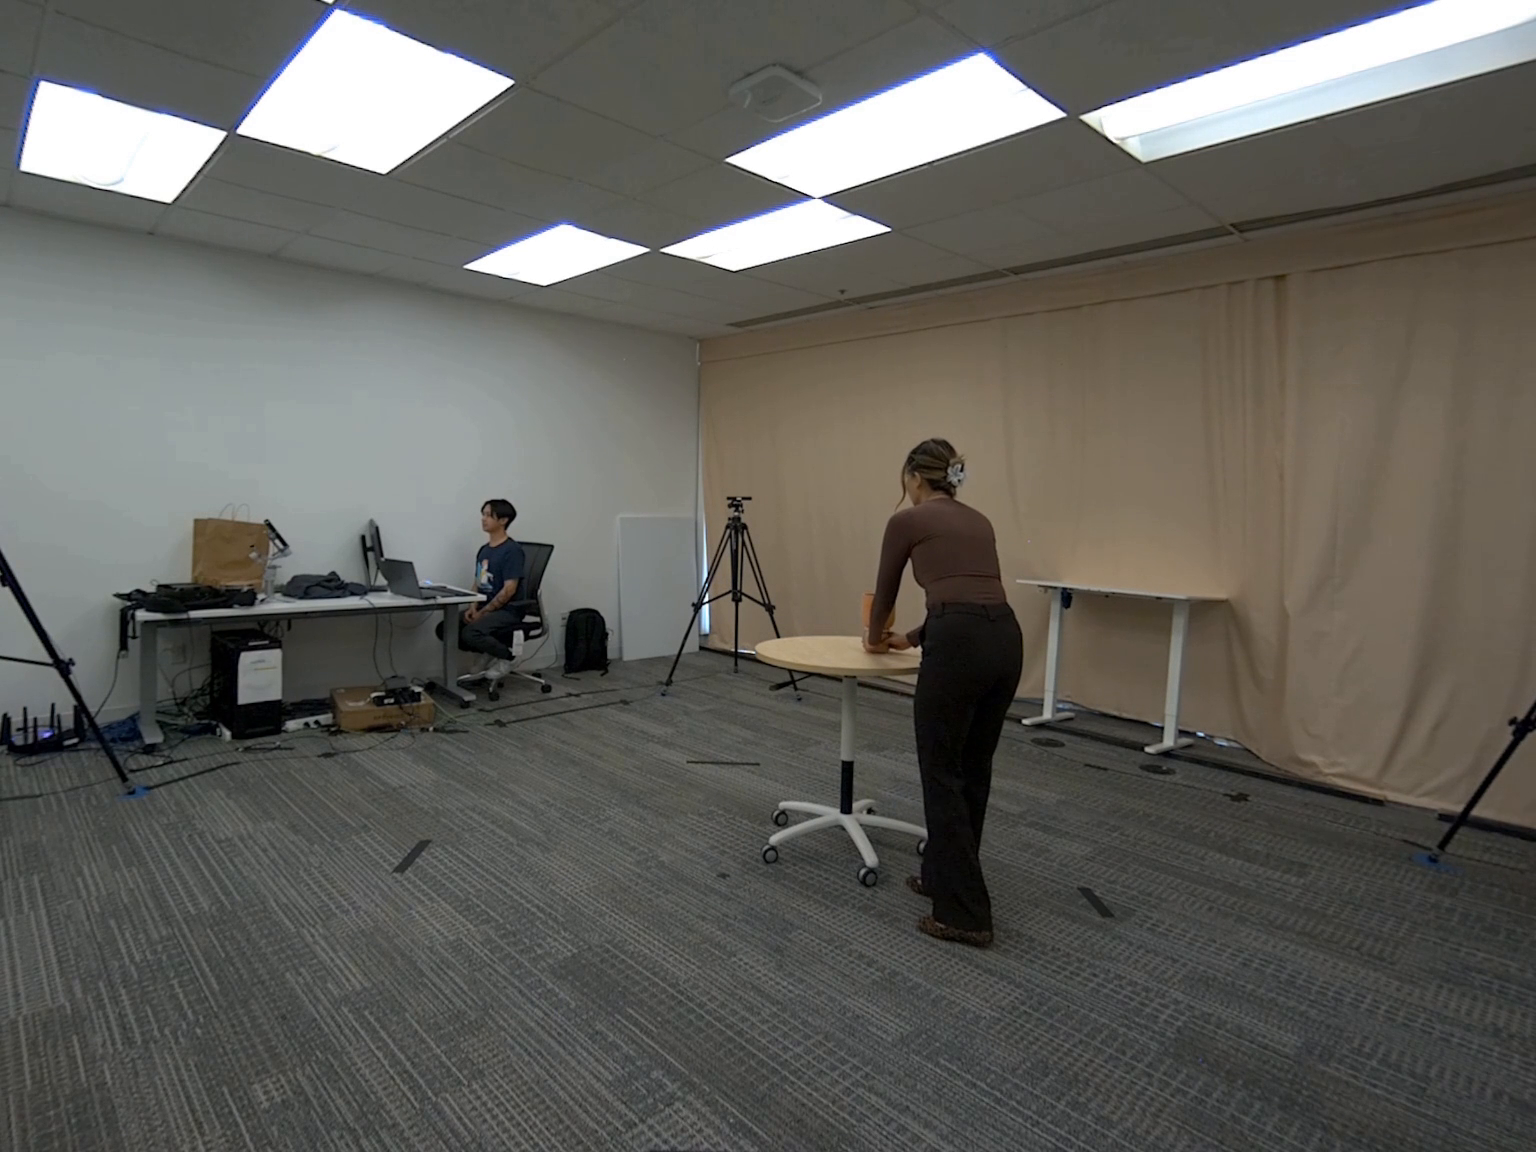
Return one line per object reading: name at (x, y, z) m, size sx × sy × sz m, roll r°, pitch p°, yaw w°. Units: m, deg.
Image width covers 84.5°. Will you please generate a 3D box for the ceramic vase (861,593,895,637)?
ceramic vase at (0.432, 0.182, 3.345) m, size 0.155 × 0.219 × 0.138 m, roll 1°, pitch 1°, yaw -38°
